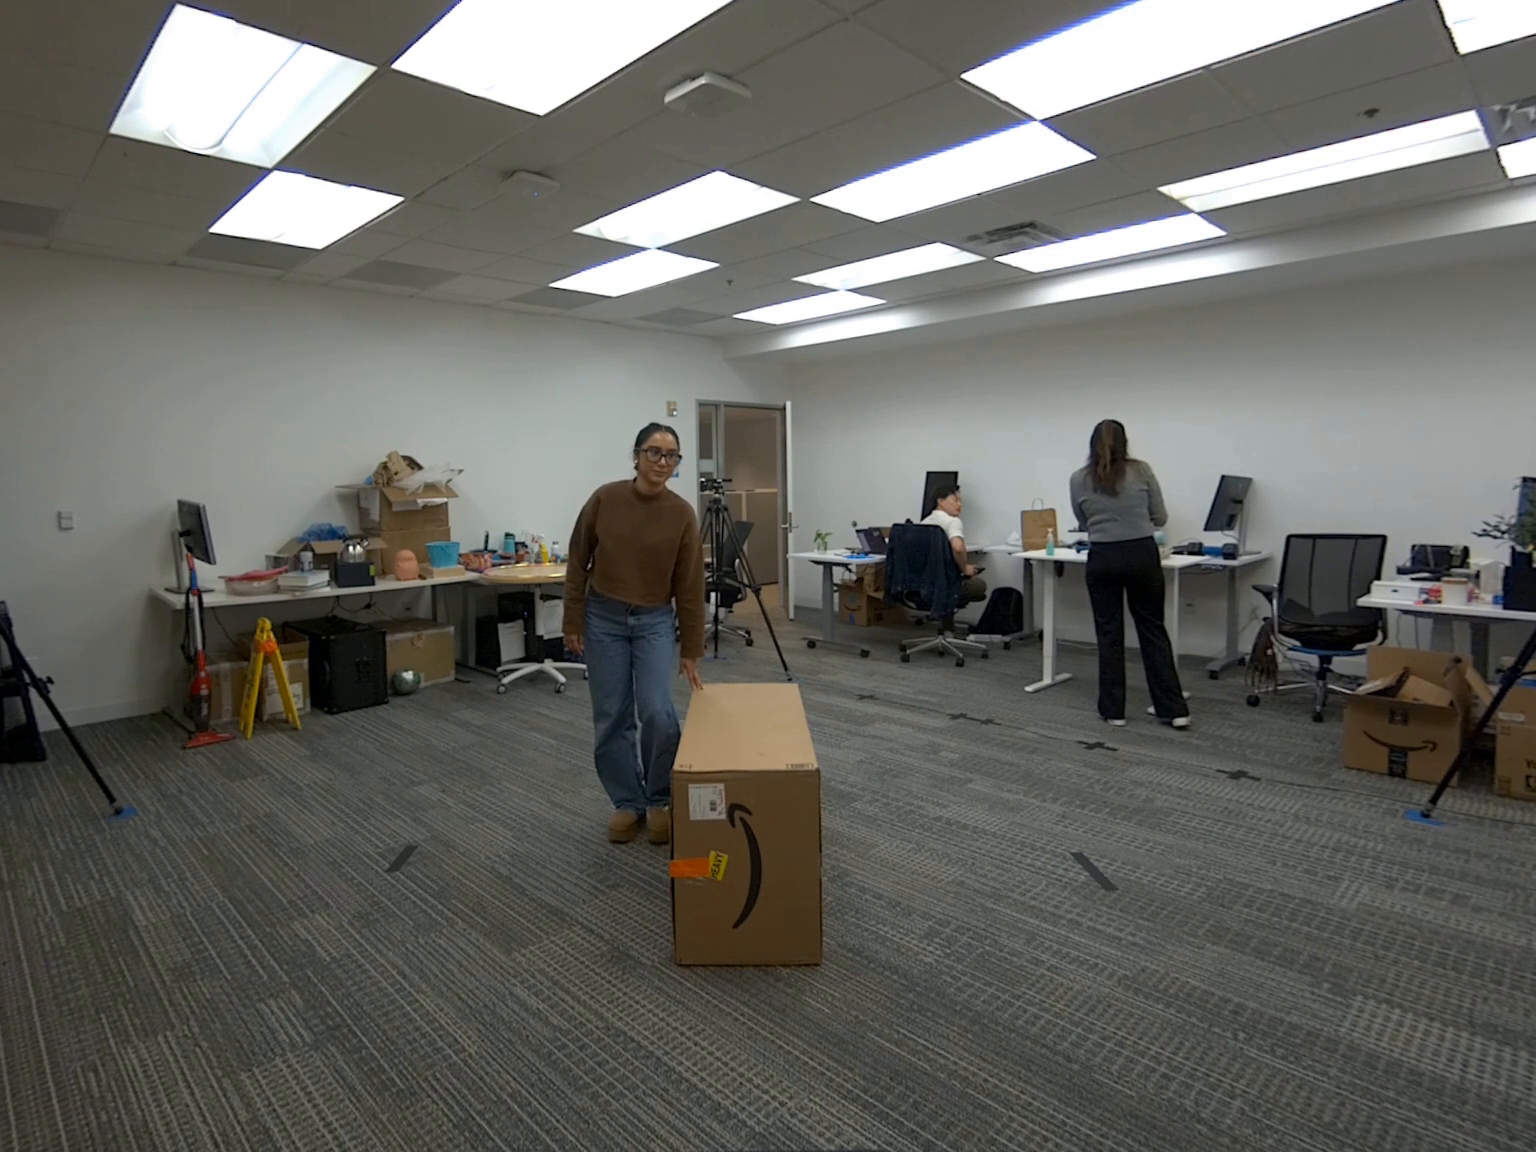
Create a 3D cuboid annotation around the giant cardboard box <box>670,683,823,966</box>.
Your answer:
[{"bbox_3d":[-0.069,0.779,2.933,0.447,0.582,1.030,0,5,0],"label":"giant cardboard box"}]
